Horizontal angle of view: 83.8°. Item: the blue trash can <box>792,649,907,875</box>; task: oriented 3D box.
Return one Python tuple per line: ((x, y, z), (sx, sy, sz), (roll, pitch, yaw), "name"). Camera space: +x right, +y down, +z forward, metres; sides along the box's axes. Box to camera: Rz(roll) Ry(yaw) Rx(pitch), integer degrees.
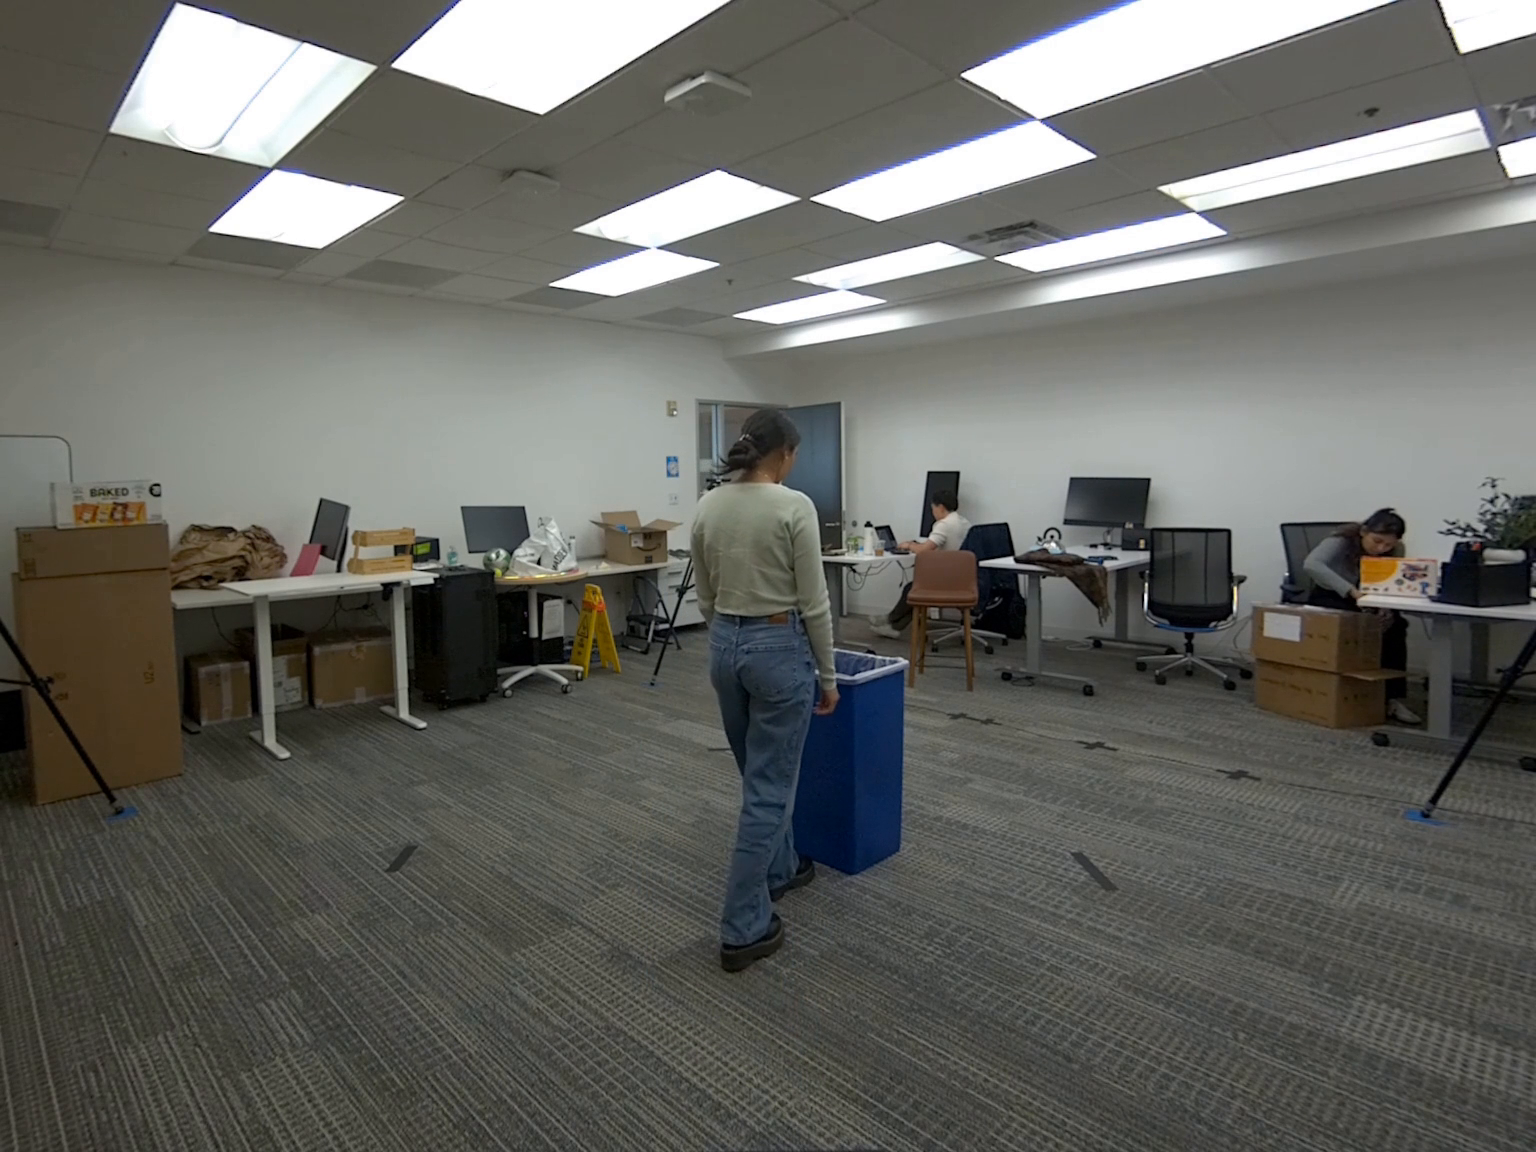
((0.284, 0.673, 3.171), (0.389, 0.711, 0.364), (2, 5, 44), "blue trash can")
